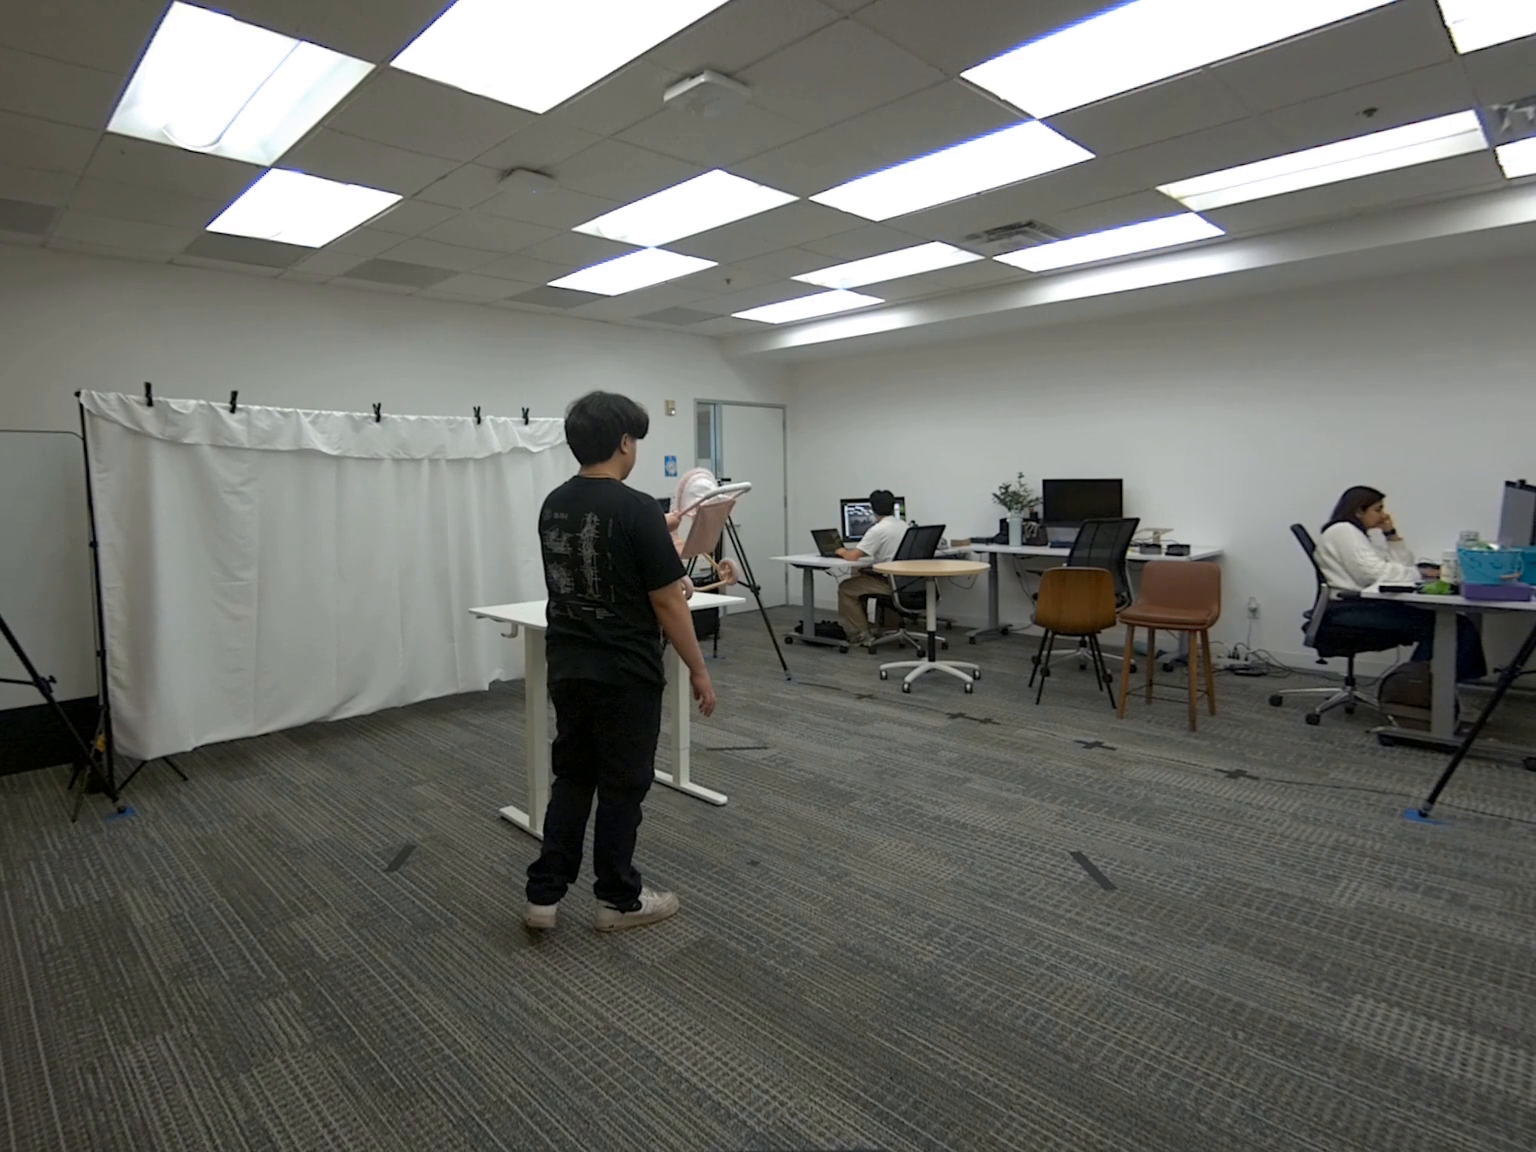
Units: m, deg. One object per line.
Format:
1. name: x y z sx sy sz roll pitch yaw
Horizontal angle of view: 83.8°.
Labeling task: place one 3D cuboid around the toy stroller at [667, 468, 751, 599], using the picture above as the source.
1. toy stroller: -0.273 -0.169 3.202 0.275 0.526 0.355 -14 37 -40
